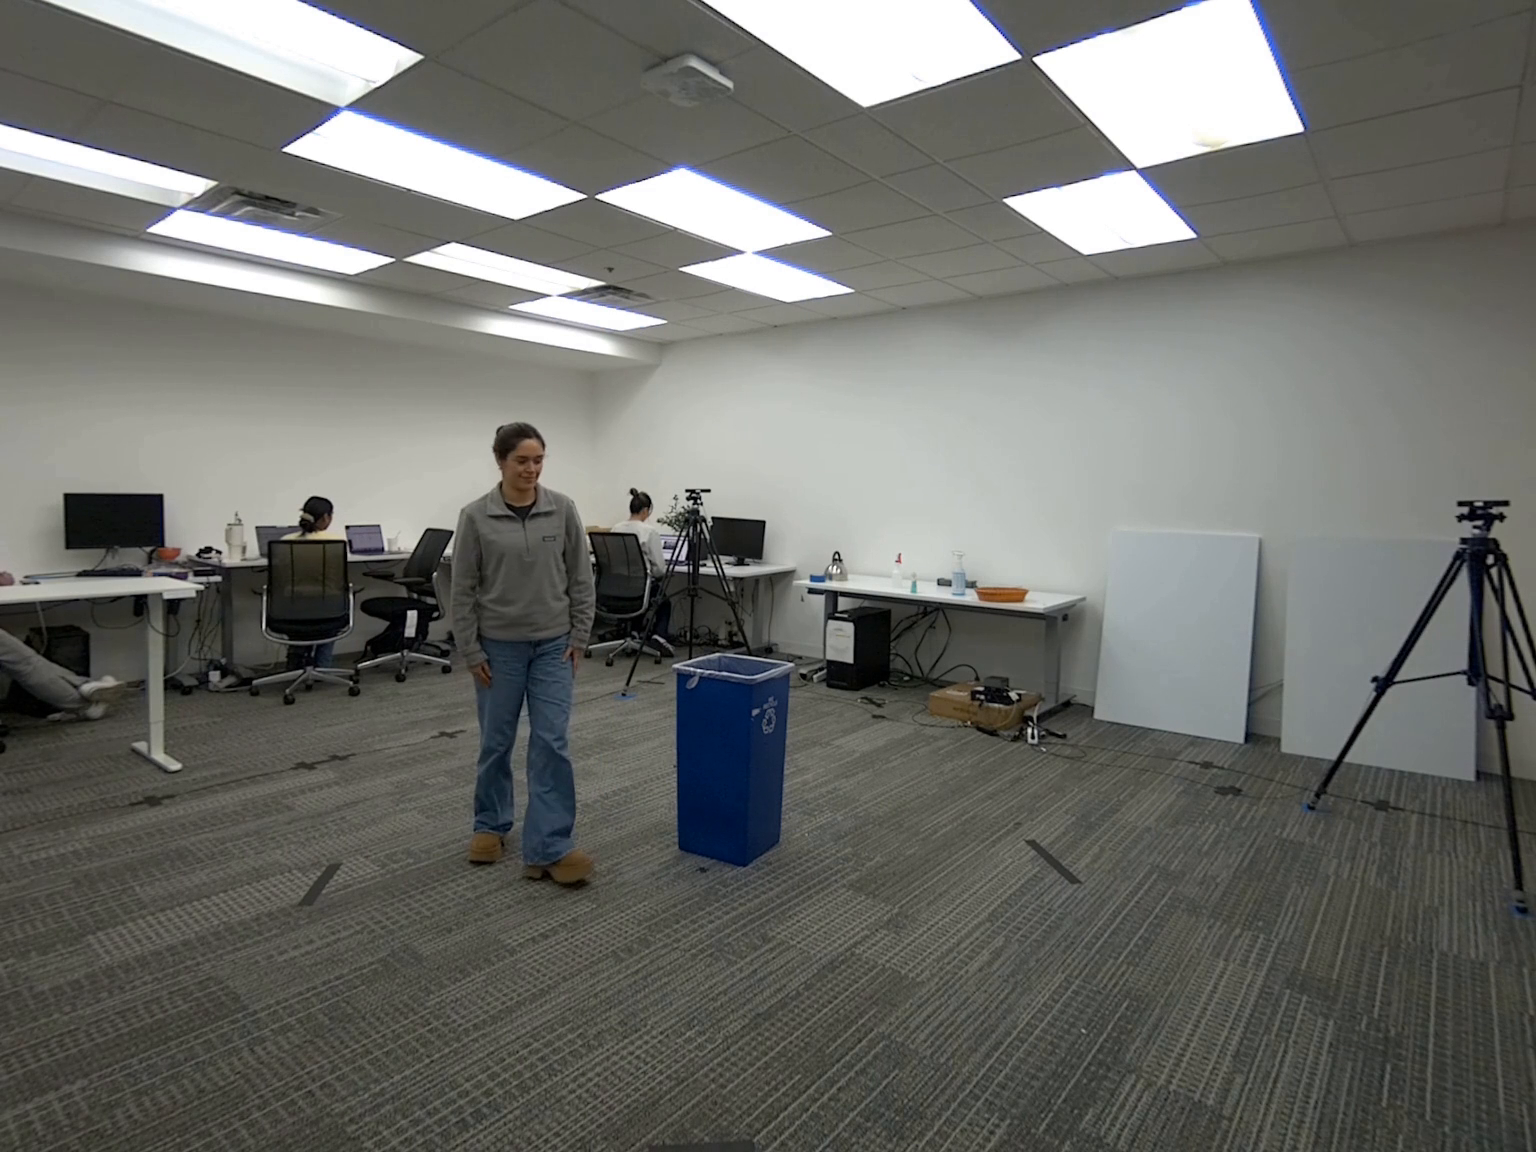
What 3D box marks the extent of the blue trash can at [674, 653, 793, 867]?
[{"bbox_3d":[-0.151,0.698,3.330,0.389,0.711,0.364,3,4,30],"label":"blue trash can"}]
